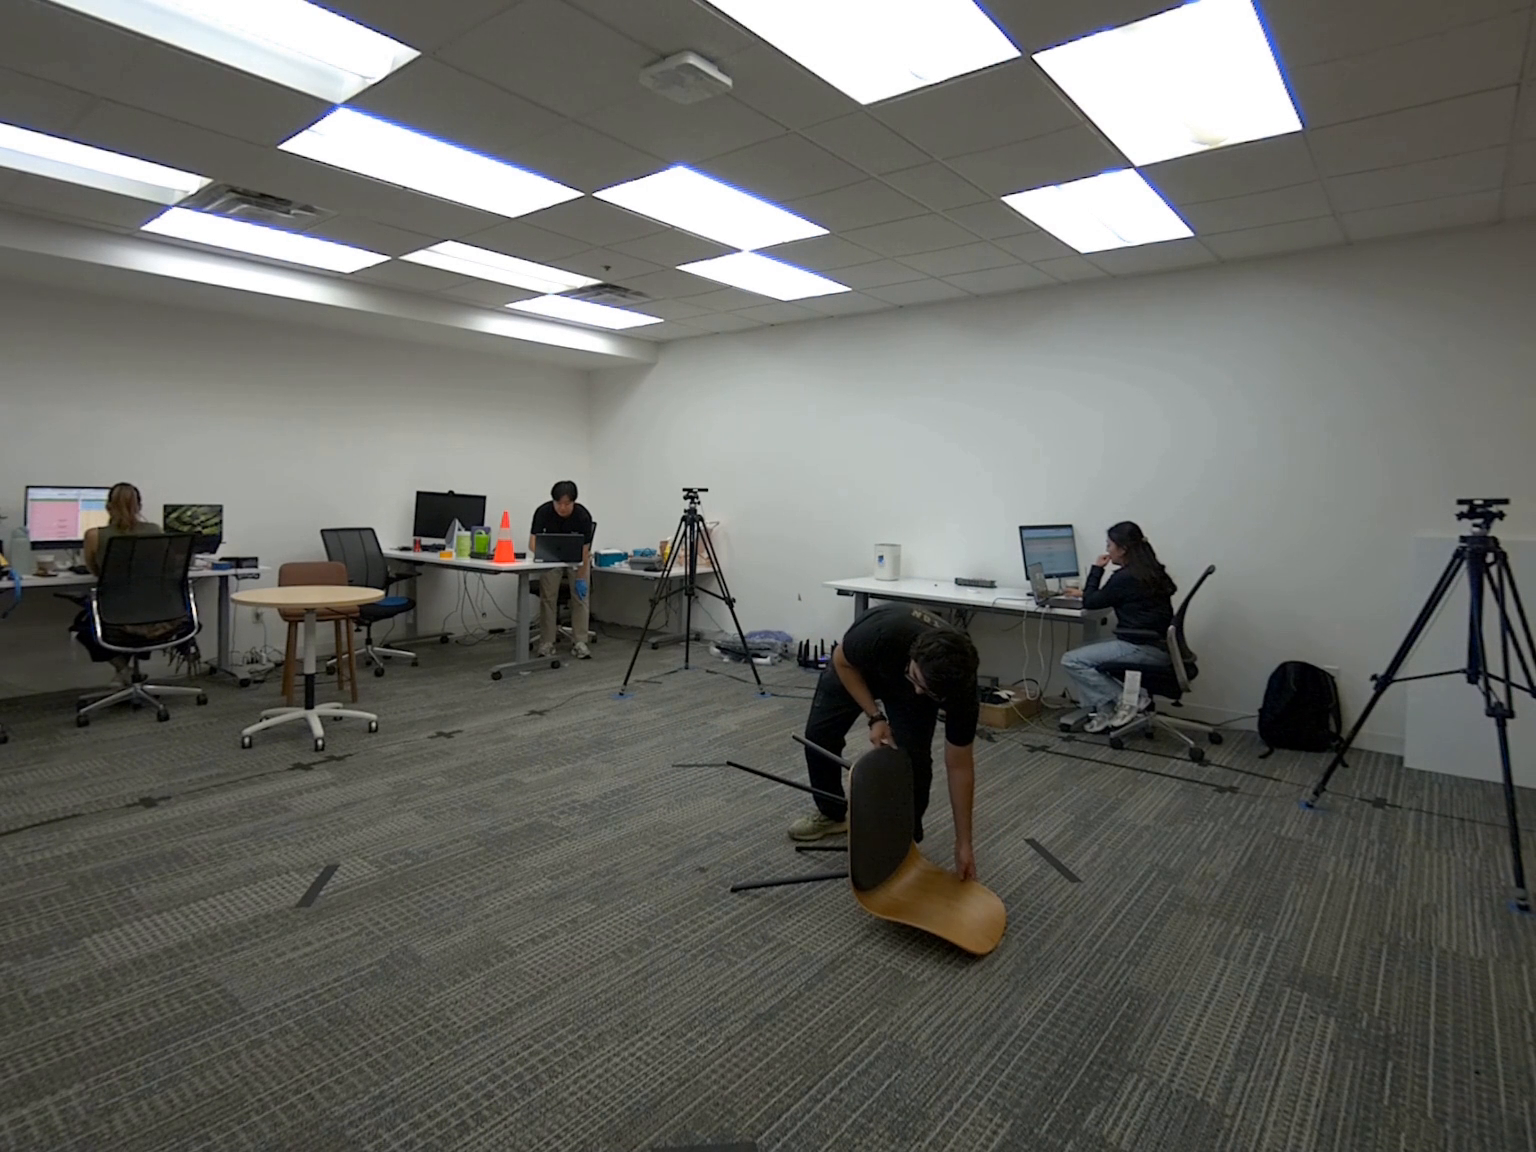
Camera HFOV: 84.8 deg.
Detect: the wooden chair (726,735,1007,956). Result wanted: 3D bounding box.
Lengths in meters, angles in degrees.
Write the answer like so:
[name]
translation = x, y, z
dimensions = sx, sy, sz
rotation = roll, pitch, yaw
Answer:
[wooden chair]
translation = 0.334, 0.849, 2.856
dimensions = 0.906, 0.521, 0.464
rotation = 7, 6, 35
